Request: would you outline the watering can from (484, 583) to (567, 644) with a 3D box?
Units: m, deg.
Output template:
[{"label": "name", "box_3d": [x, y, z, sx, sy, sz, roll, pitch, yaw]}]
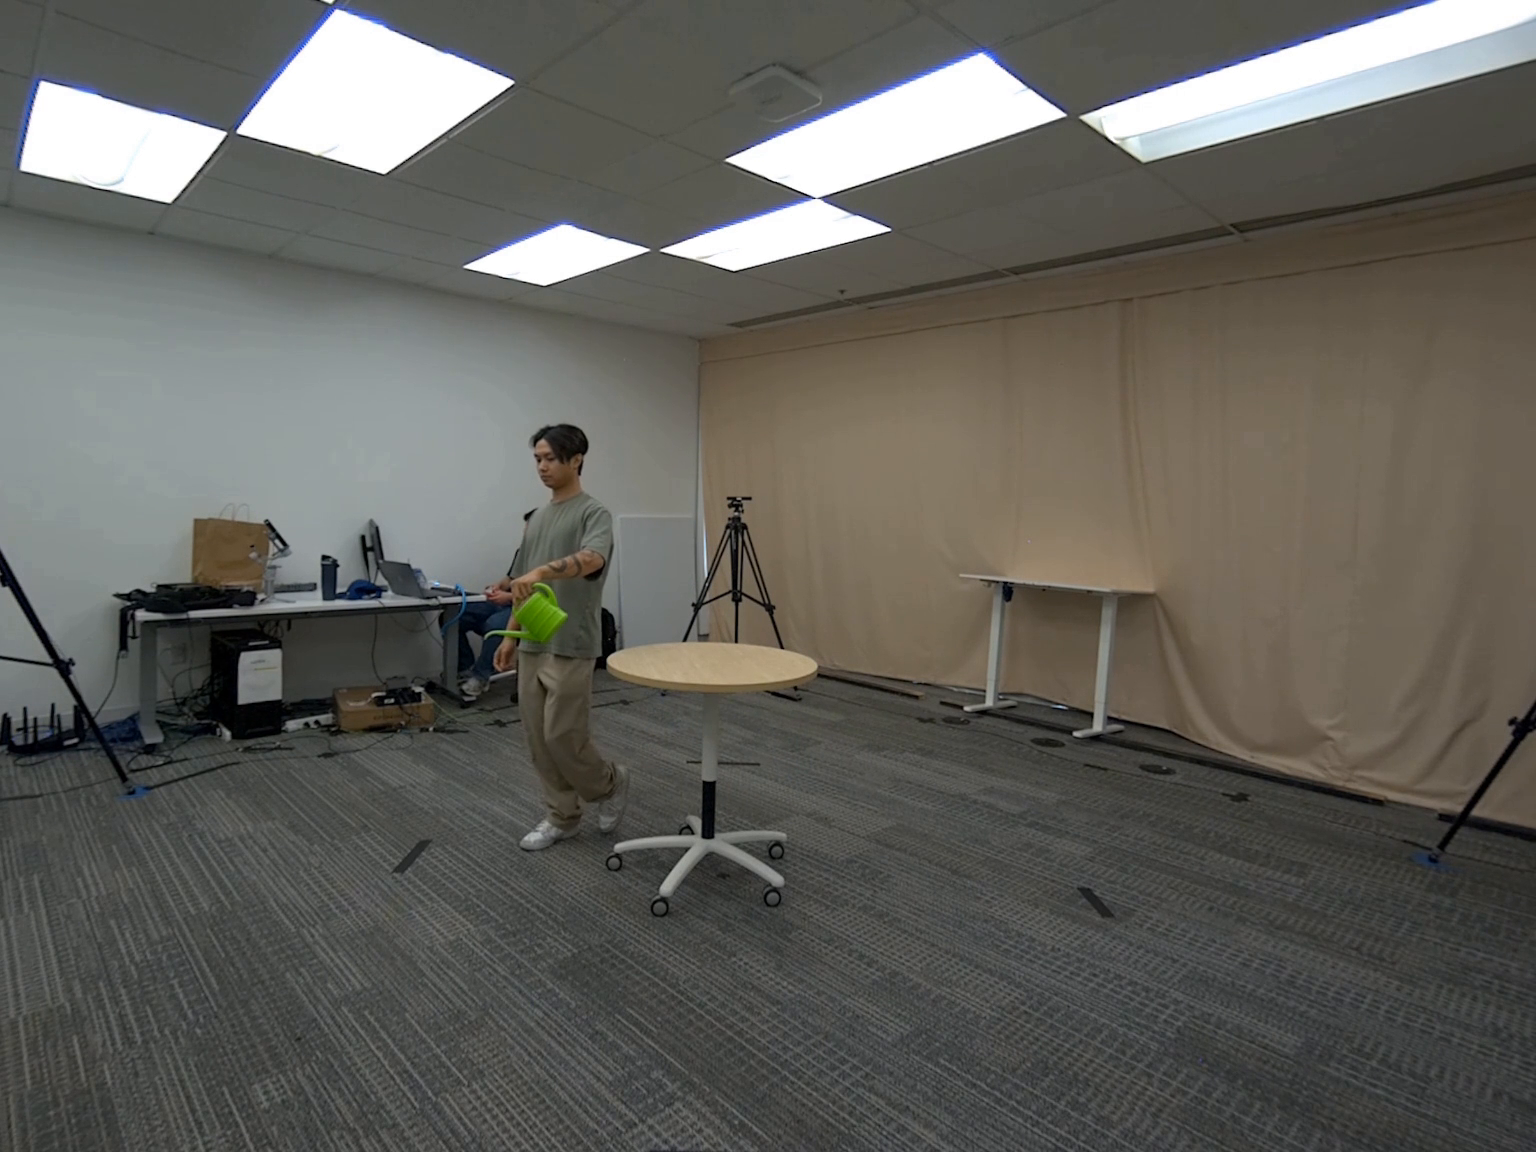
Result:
[{"label": "watering can", "box_3d": [-0.828, 0.161, 2.890, 0.177, 0.278, 0.098, 42, 21, 0]}]
